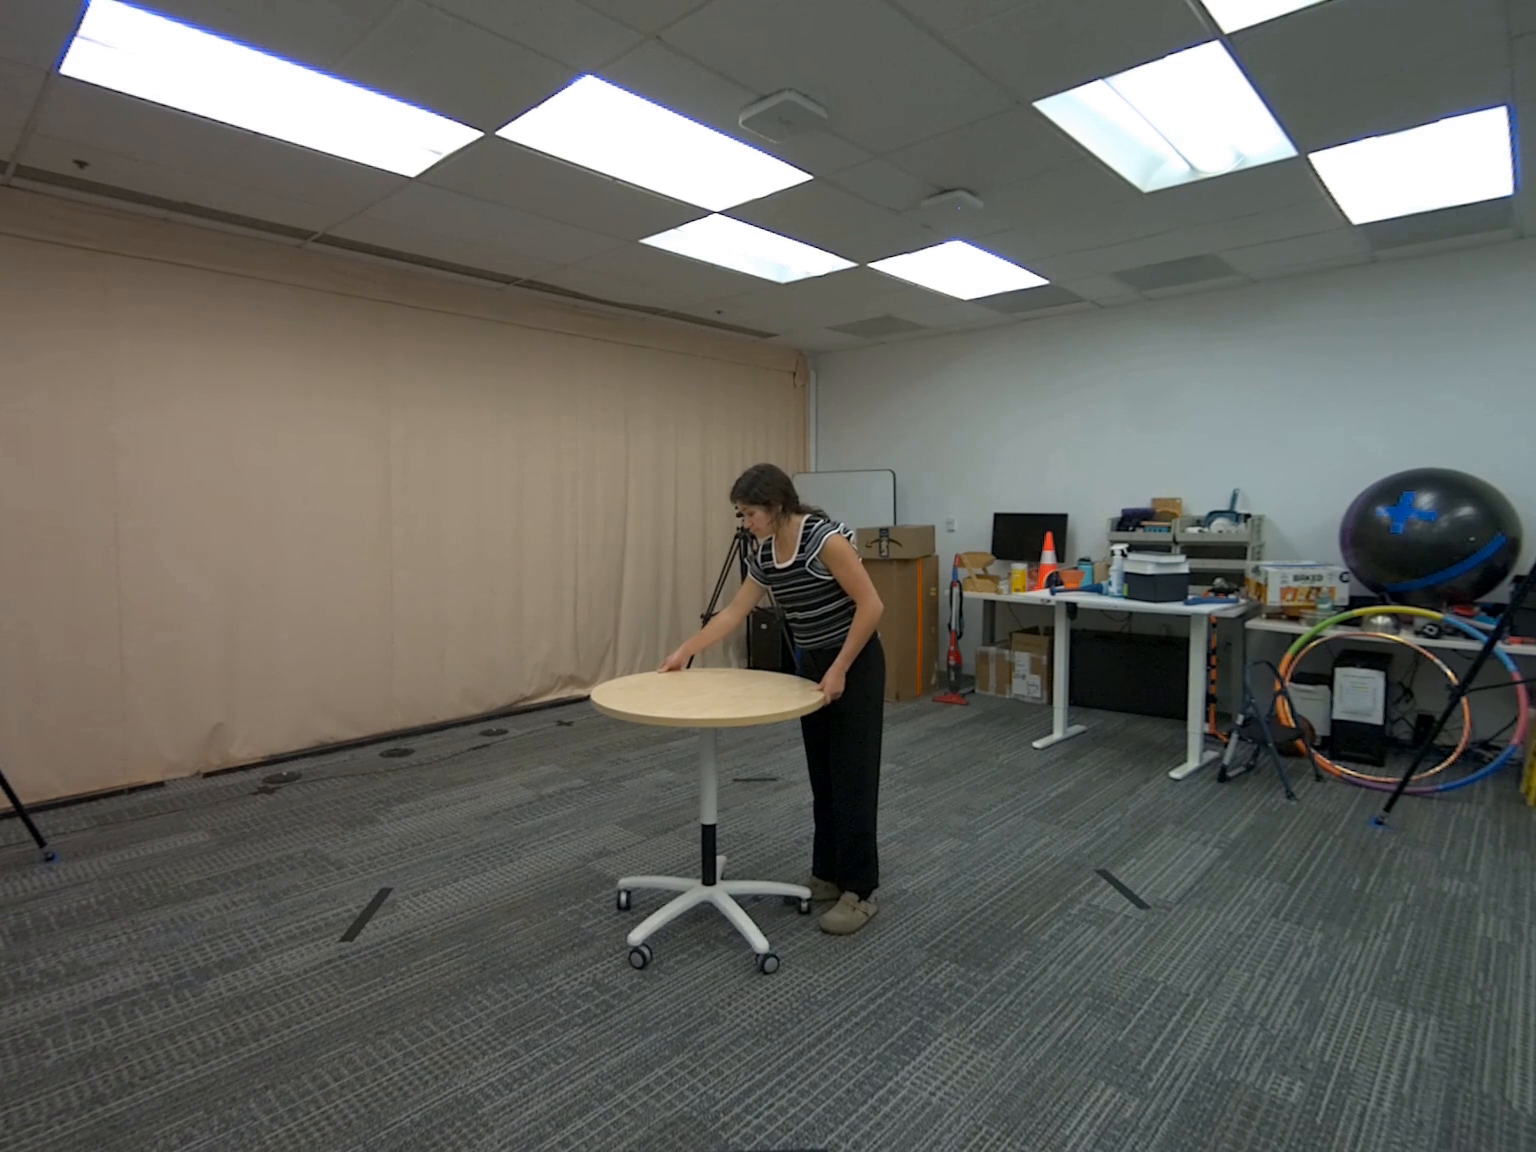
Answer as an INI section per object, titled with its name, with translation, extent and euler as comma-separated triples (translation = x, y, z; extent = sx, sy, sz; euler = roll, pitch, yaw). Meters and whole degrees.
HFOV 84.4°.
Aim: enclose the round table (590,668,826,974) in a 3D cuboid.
[round table]
translation = -0.186, 0.769, 2.785
extent = 0.784, 0.785, 0.788
euler = -1, 4, -2
